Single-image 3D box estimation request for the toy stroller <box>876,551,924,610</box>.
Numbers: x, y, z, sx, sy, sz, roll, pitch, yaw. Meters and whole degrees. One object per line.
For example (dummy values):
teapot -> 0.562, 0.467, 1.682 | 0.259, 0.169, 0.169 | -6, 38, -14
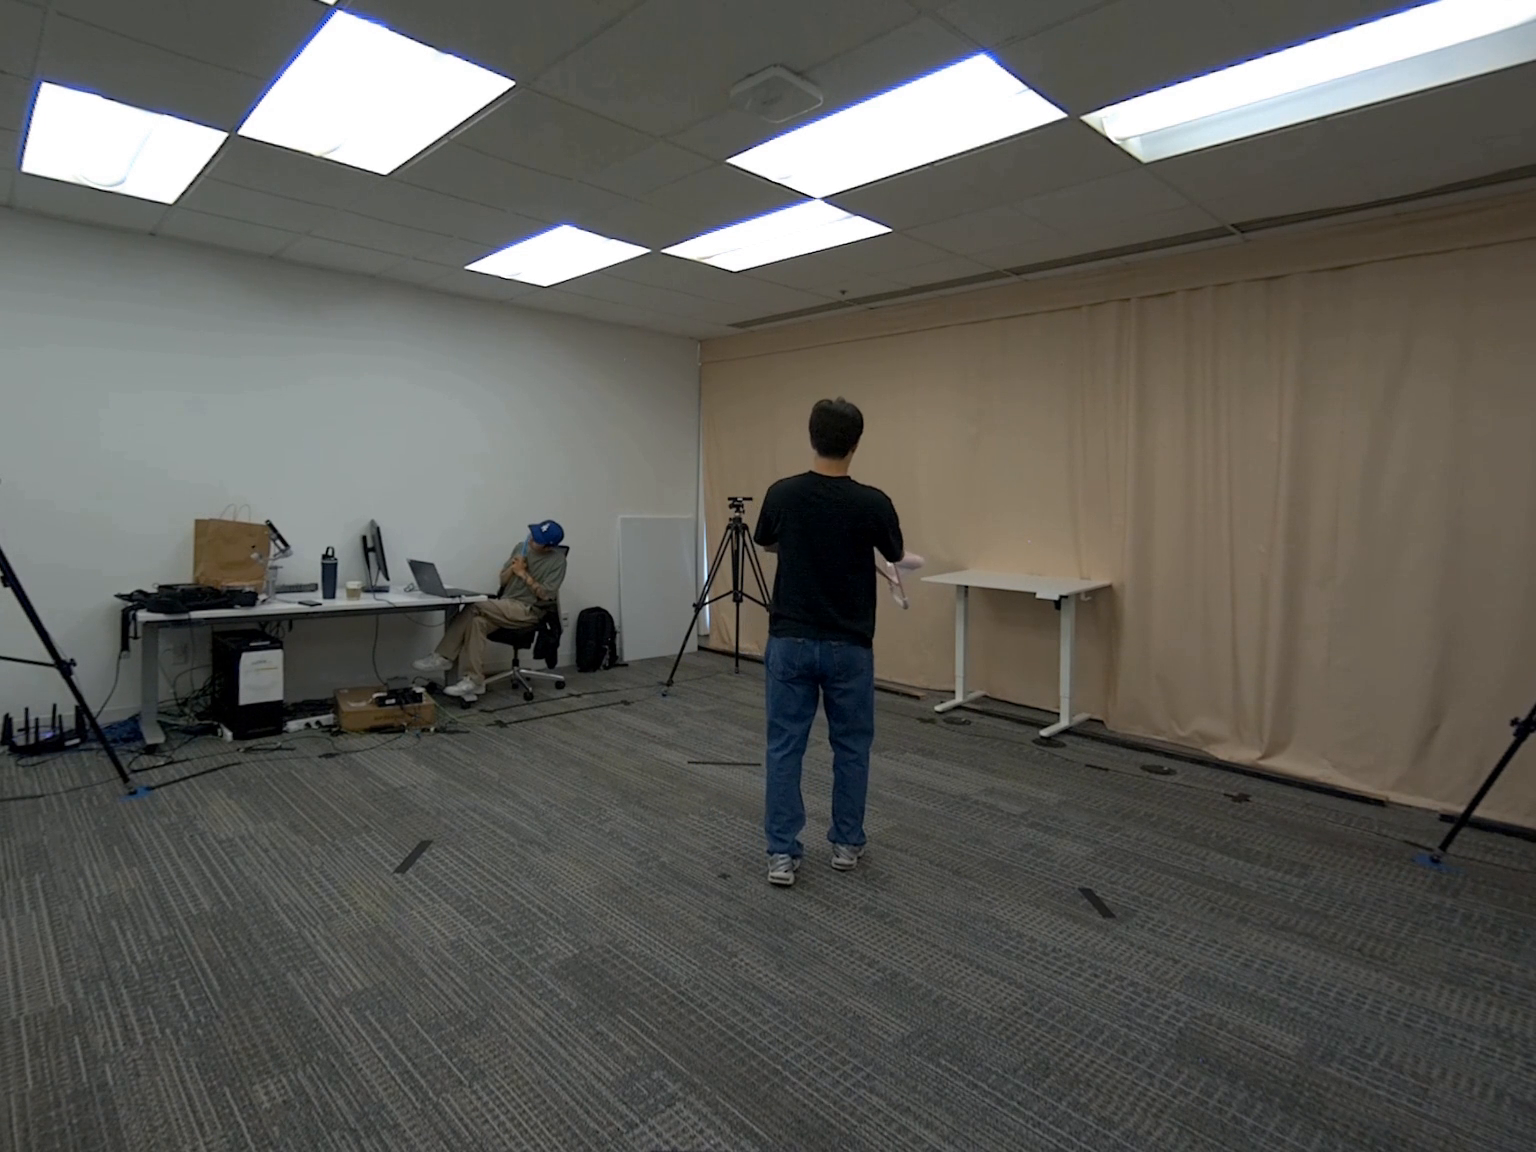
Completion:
toy stroller -> 0.439, -0.130, 3.604 | 0.528, 0.341, 0.285 | 30, 3, -12
